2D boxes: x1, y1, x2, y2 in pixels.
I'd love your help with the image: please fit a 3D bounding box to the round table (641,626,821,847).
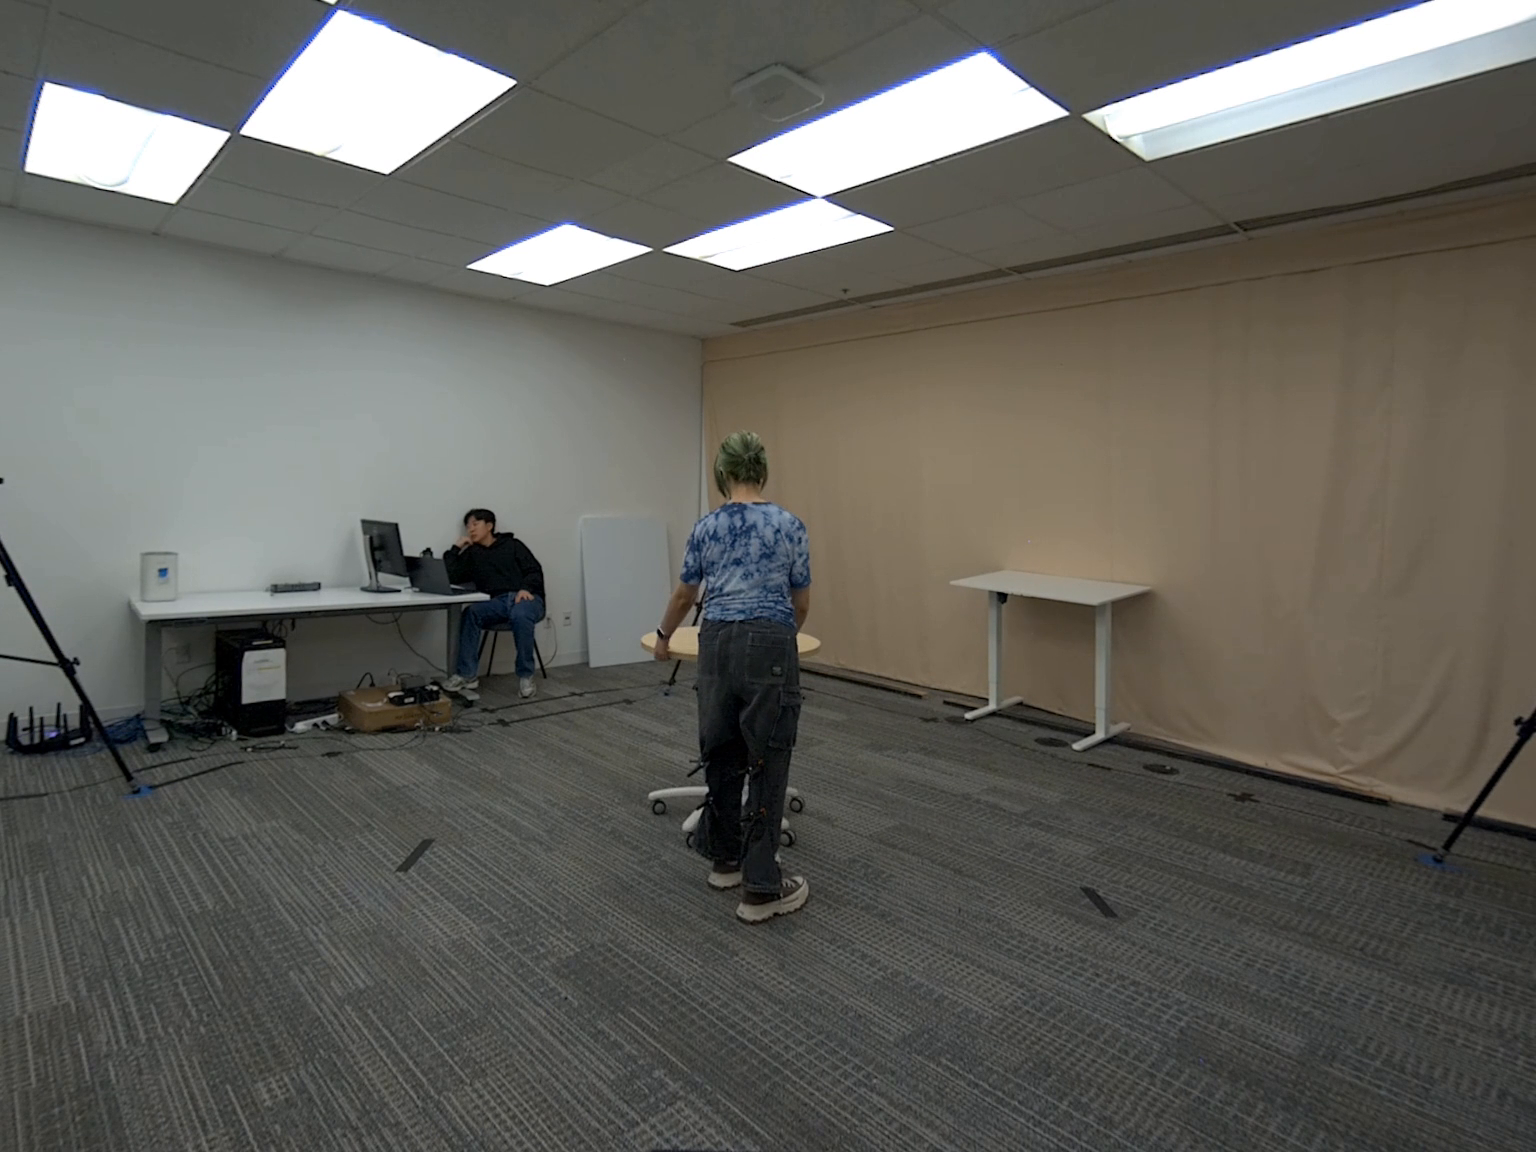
[{"bbox_3d":[-0.169,0.671,3.616,0.763,0.792,0.766,2,4,-1],"label":"round table"}]
